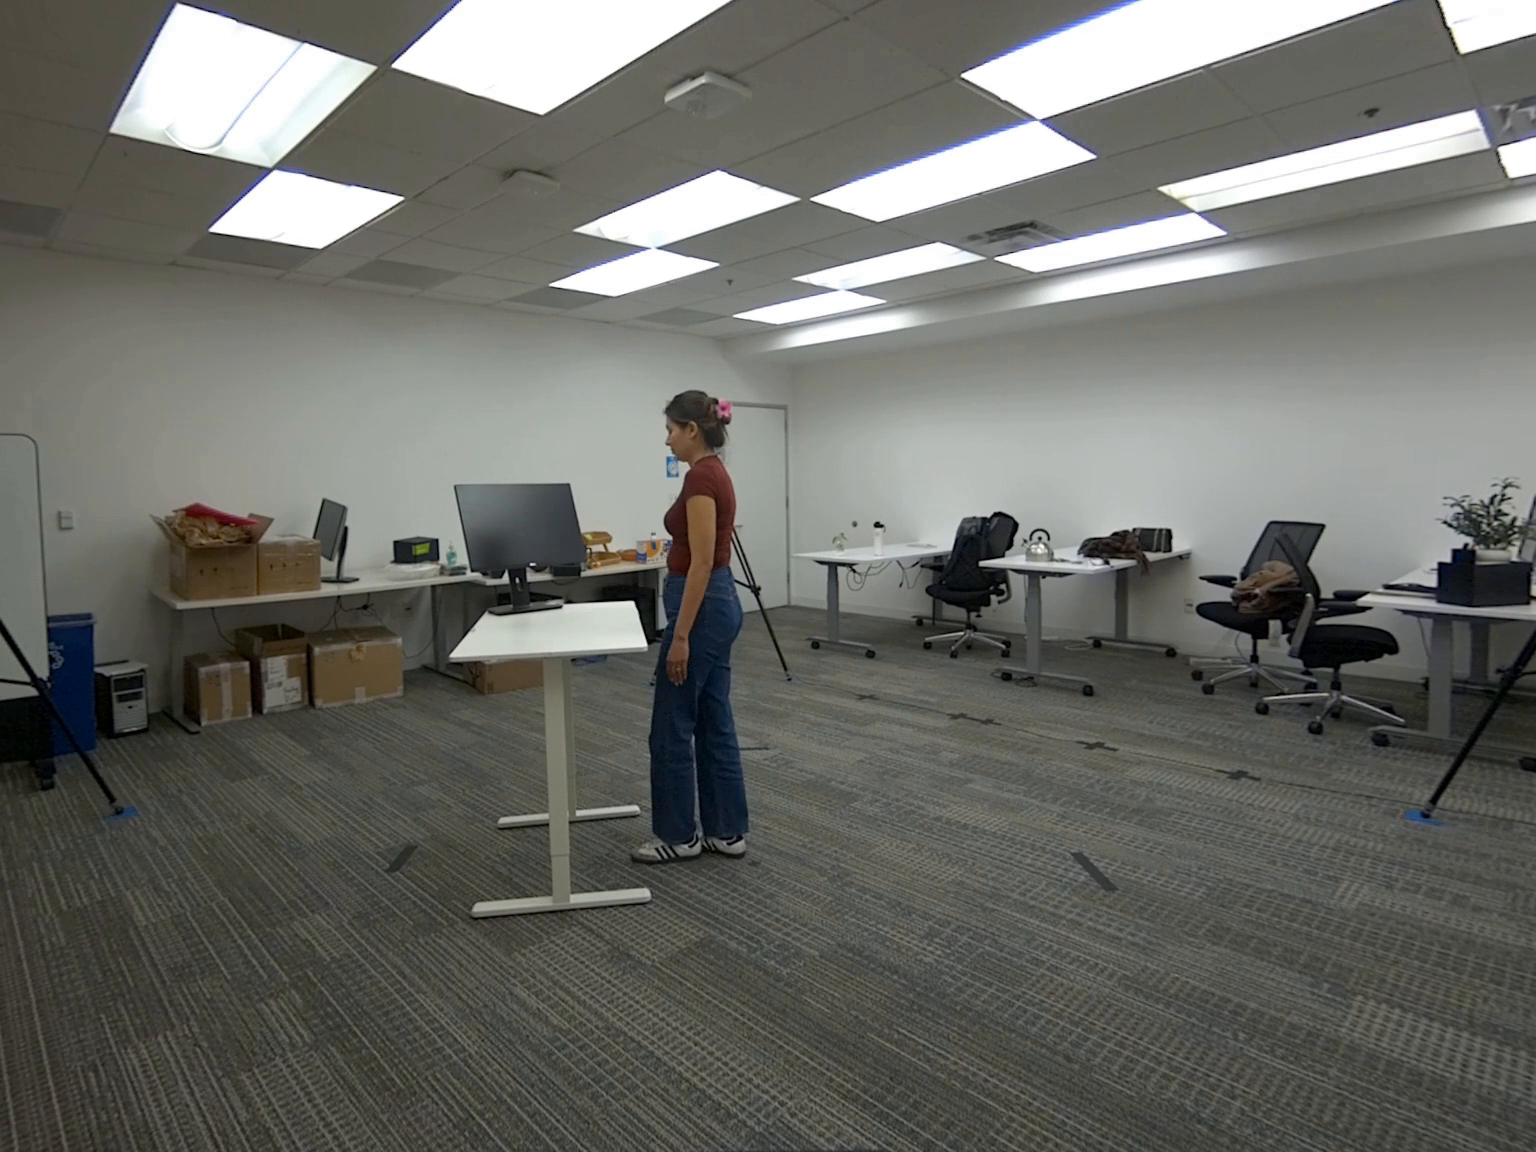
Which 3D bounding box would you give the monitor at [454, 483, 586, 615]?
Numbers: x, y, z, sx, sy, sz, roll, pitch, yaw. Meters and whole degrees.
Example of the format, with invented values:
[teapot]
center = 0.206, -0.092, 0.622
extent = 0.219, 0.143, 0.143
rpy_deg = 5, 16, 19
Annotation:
[monitor]
center = -1.005, -0.117, 3.481
extent = 0.192, 0.522, 0.525
rpy_deg = -1, 3, 40
